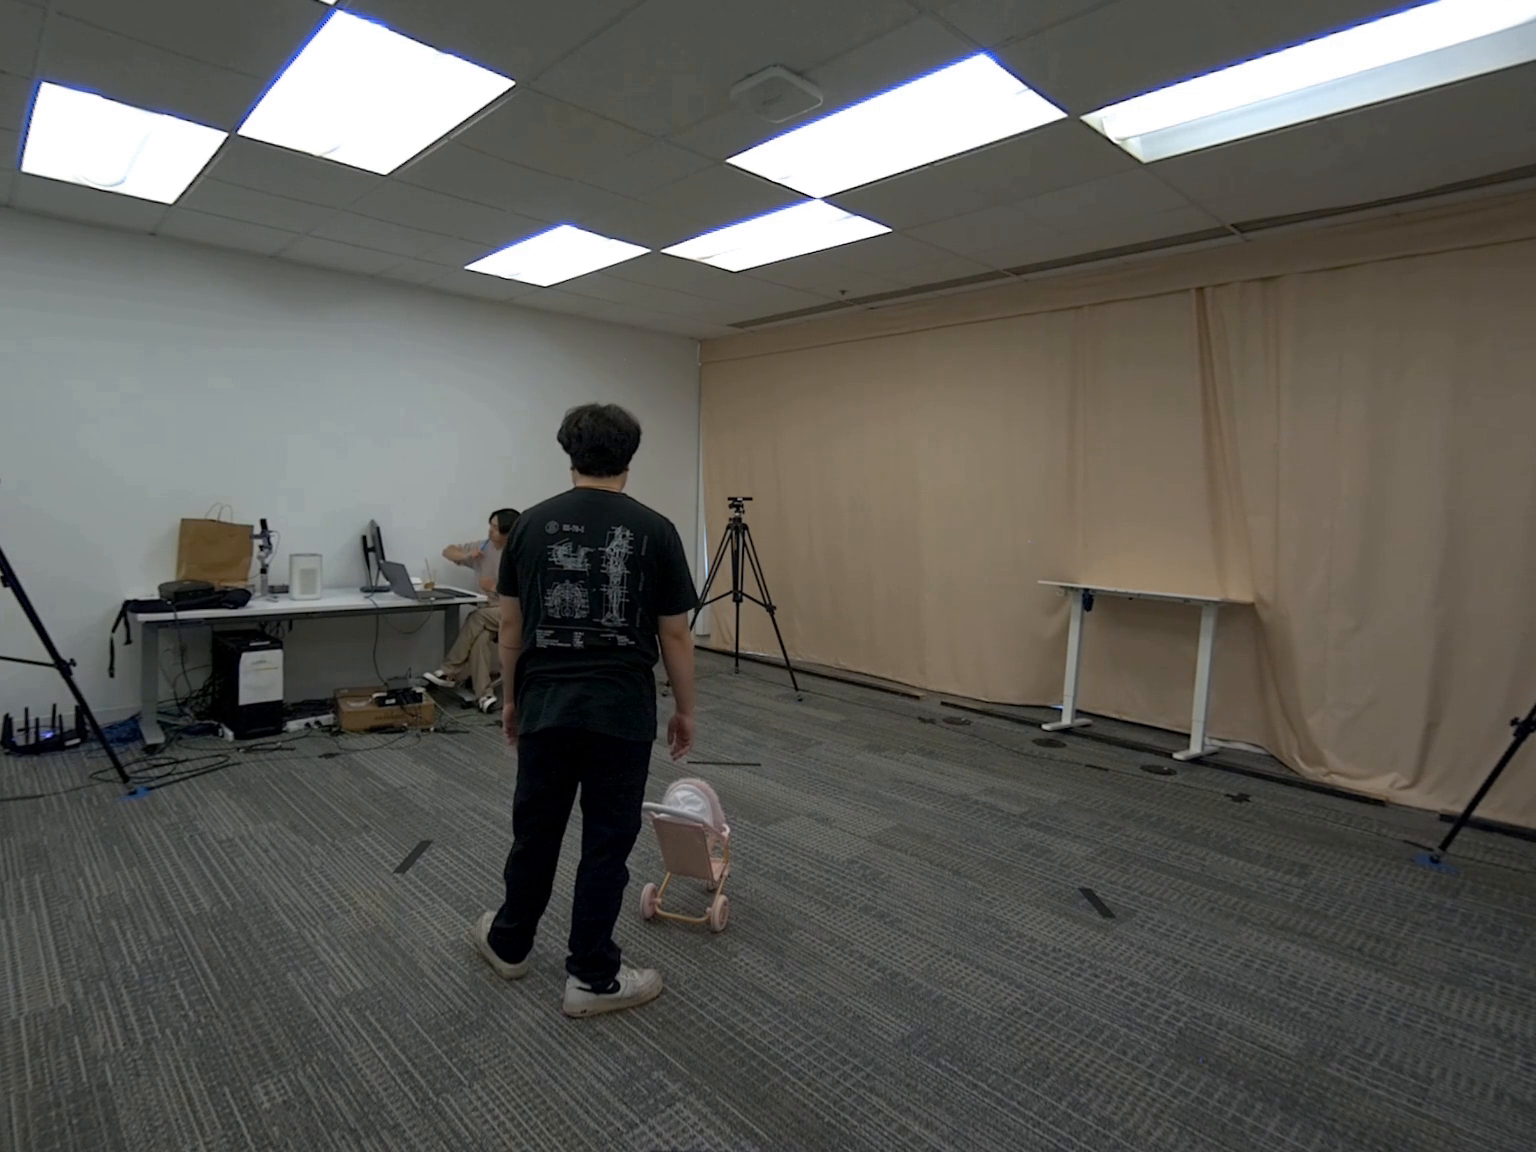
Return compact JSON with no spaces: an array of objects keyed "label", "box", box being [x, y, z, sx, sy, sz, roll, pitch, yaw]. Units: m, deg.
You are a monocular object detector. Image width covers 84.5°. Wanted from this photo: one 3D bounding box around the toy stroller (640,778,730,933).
[{"label":"toy stroller","box":[-0.253,0.908,2.801,0.286,0.528,0.340,4,19,21]}]
